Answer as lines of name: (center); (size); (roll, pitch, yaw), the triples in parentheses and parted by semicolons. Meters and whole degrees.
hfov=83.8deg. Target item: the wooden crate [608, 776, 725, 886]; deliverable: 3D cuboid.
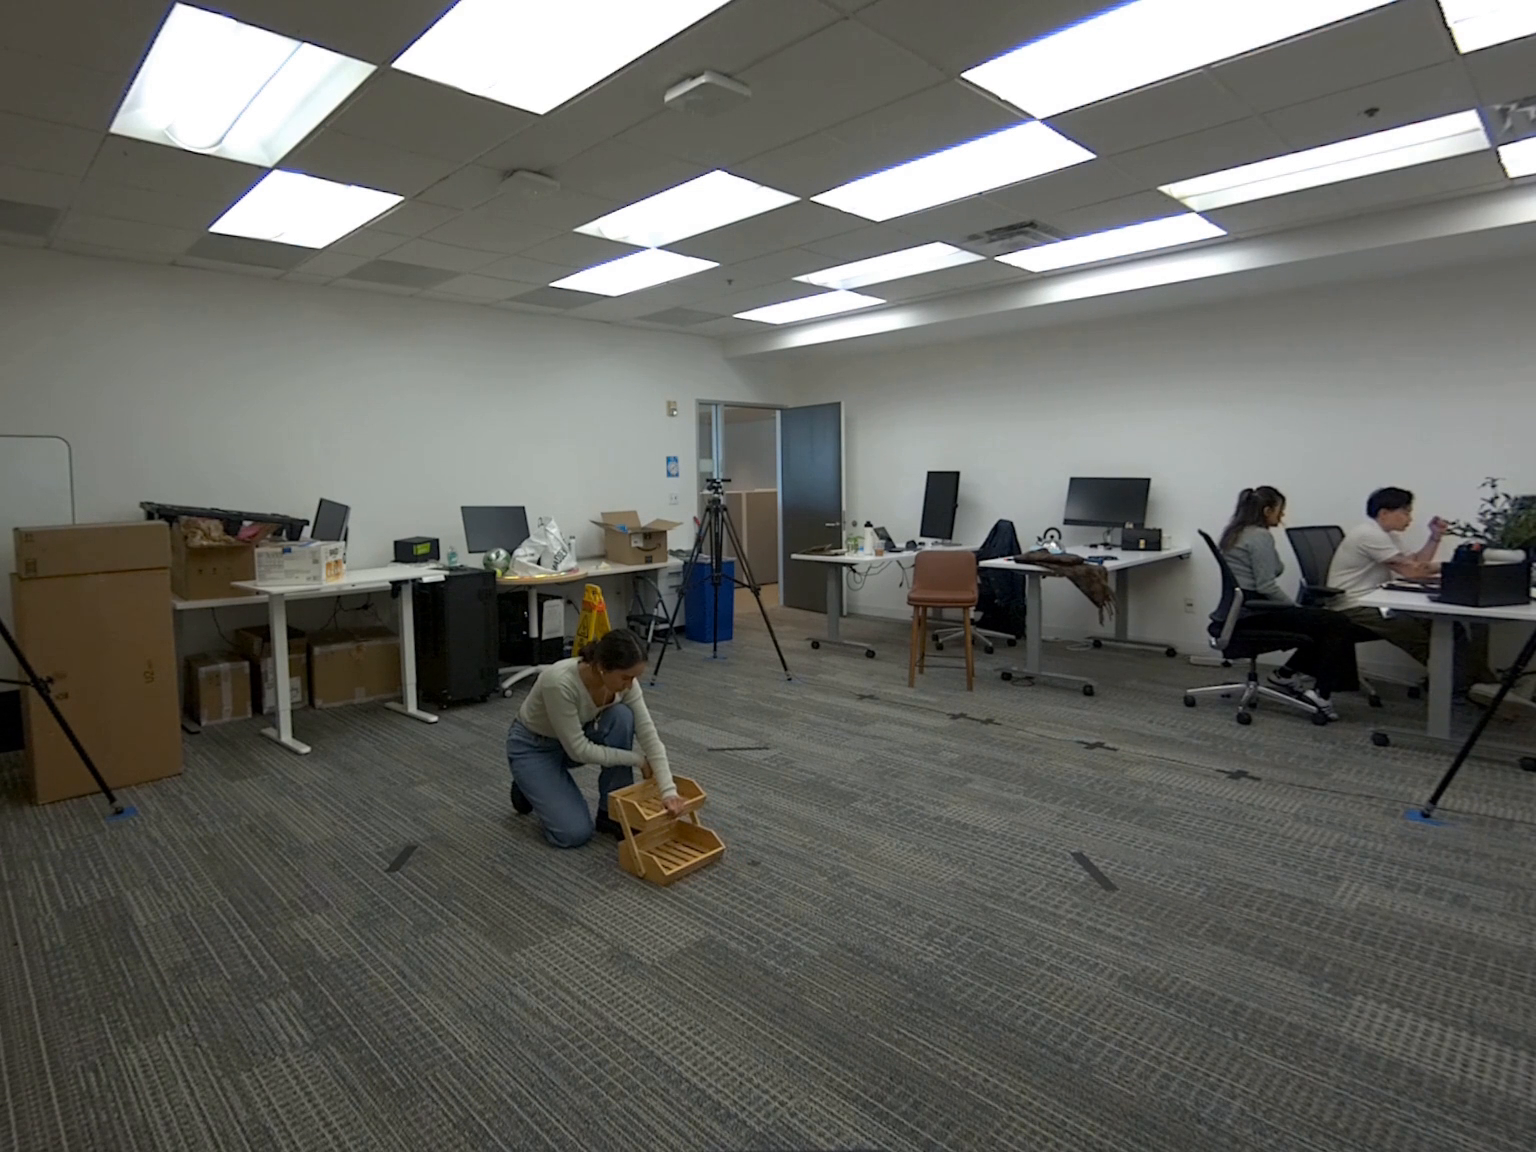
wooden crate: (-0.364, 0.910, 3.121); (0.311, 0.272, 0.316); (2, 5, 41)
